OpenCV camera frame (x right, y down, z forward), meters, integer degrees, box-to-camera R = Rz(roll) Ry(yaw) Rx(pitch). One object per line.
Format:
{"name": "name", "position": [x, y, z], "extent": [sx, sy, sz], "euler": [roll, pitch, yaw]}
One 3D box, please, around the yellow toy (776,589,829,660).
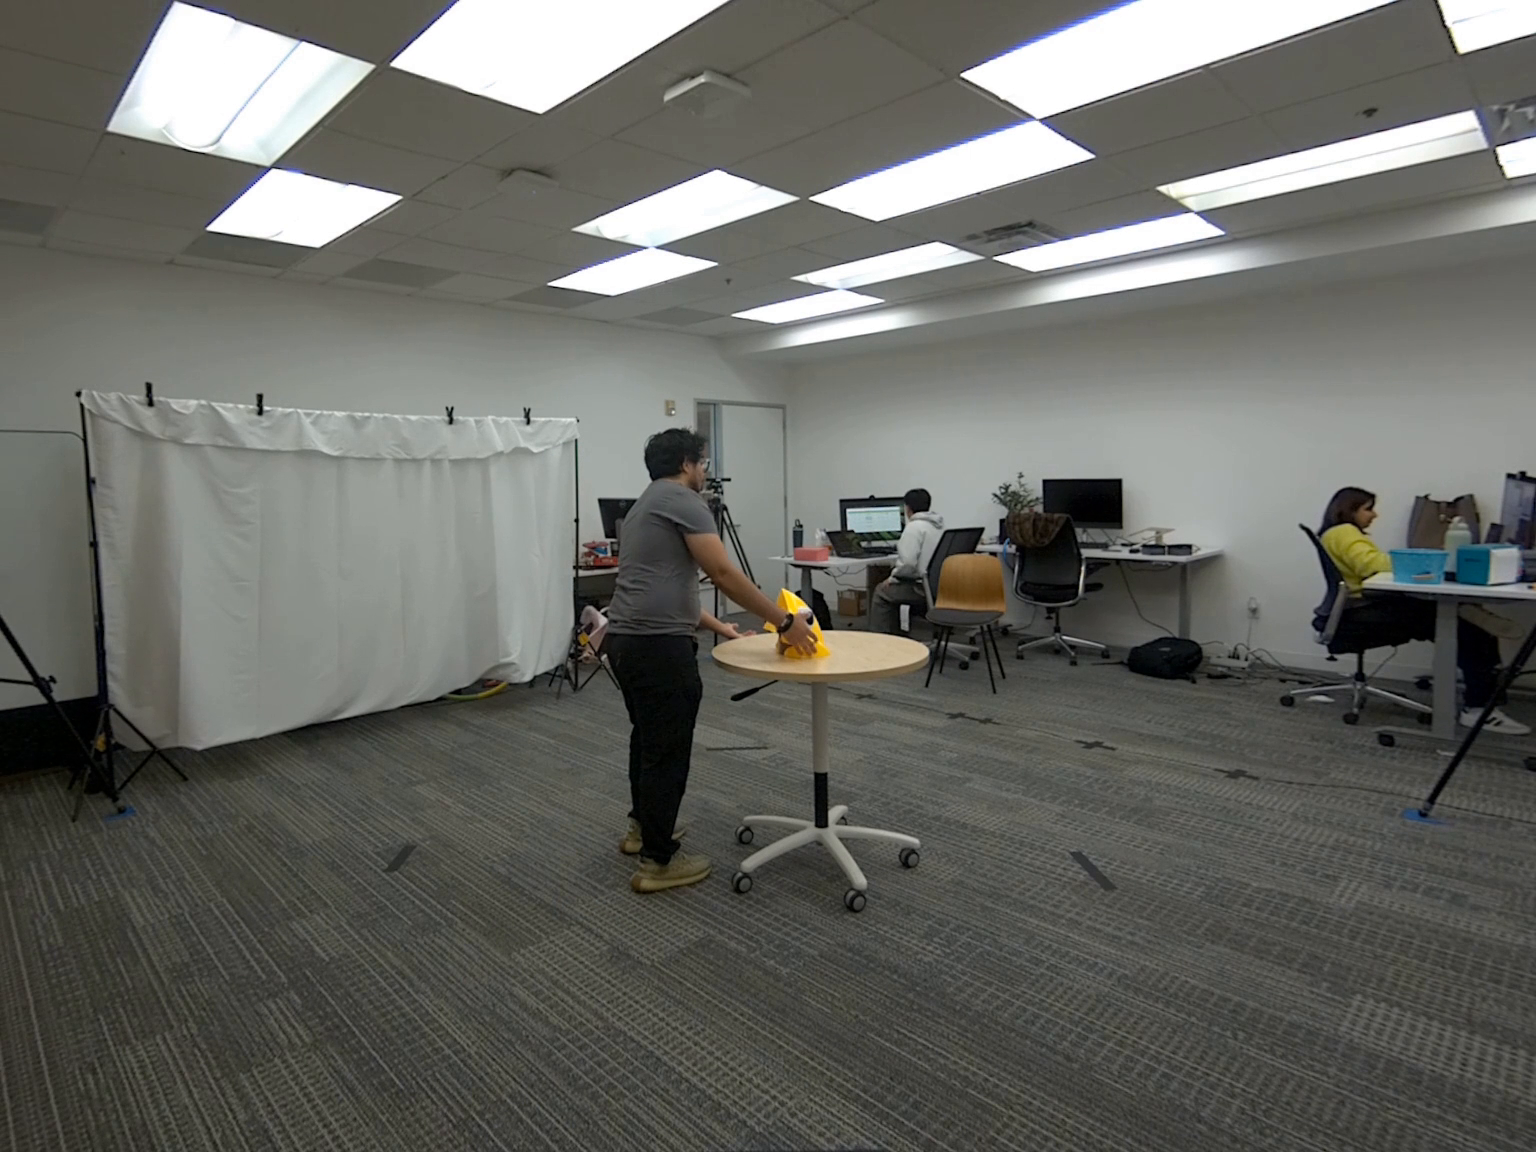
{"name": "yellow toy", "position": [0.102, 0.154, 2.993], "extent": [0.189, 0.229, 0.210], "euler": [-4, 6, -22]}
